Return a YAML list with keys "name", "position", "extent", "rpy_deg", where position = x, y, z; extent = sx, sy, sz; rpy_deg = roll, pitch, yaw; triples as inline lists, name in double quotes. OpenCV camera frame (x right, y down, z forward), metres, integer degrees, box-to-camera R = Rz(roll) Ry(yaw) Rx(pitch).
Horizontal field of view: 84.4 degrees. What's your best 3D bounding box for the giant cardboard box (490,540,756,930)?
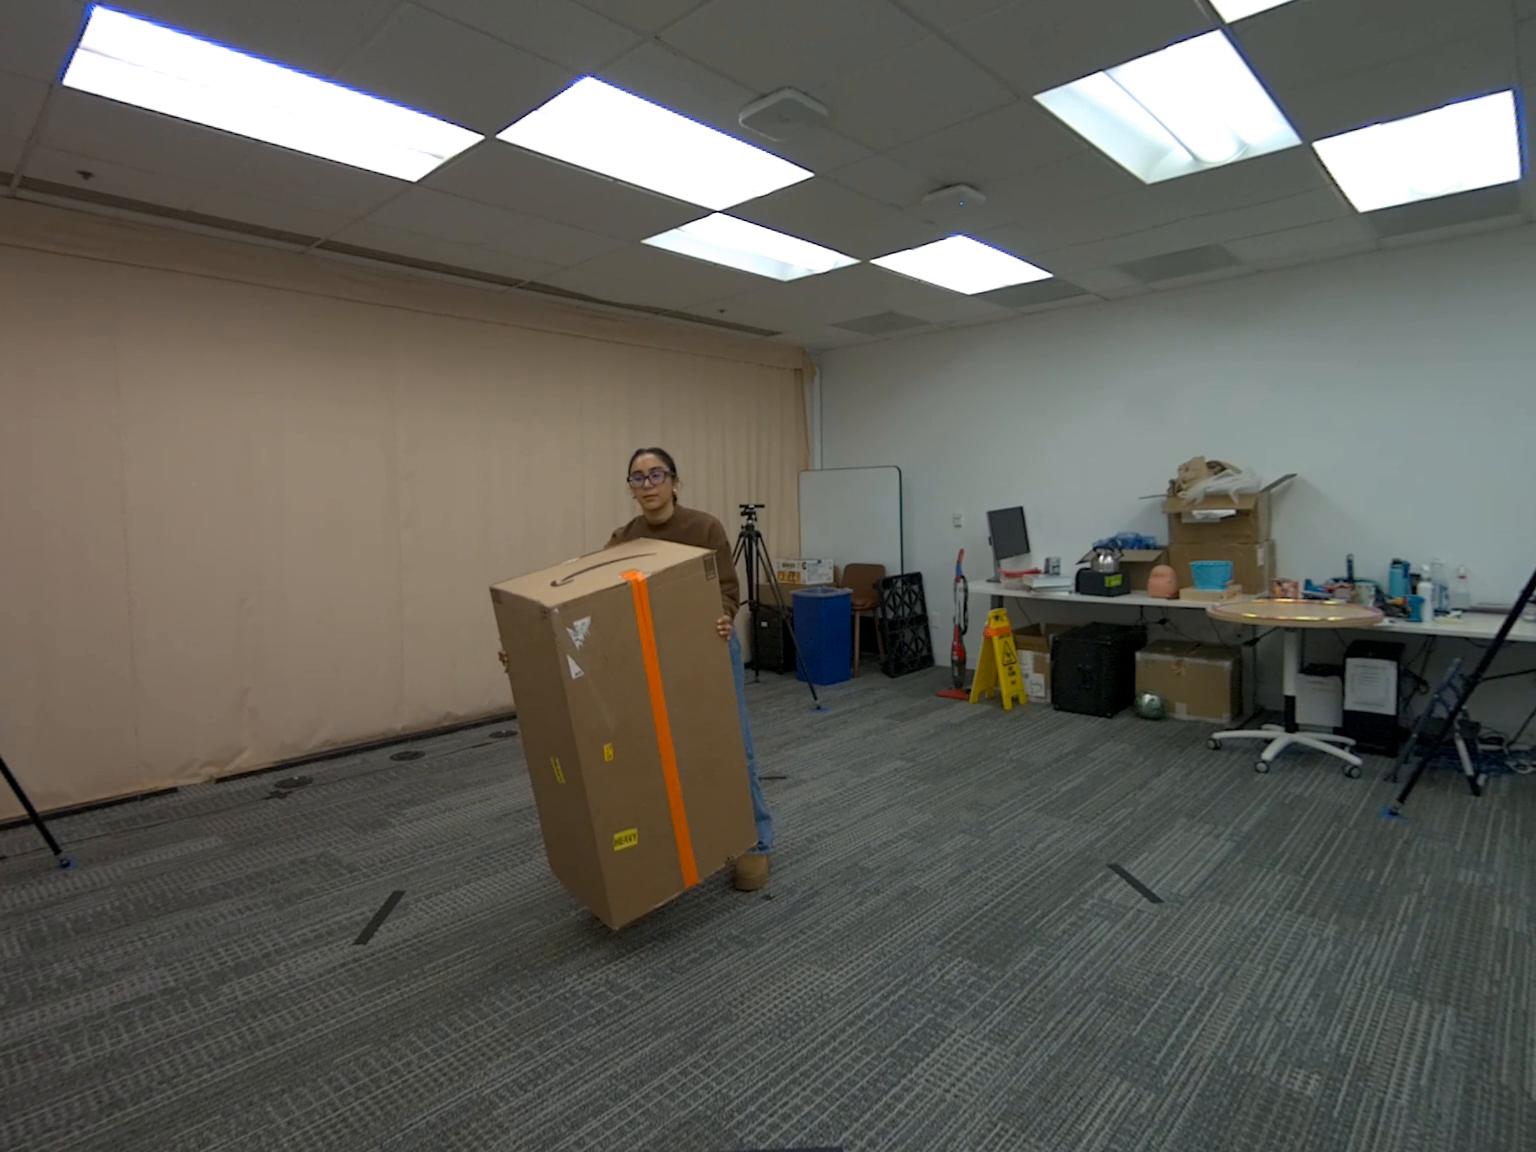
- name: "giant cardboard box"
  position: [-0.445, 0.464, 2.700]
  extent: [0.564, 1.015, 0.441]
  rpy_deg: [-19, 17, -36]
